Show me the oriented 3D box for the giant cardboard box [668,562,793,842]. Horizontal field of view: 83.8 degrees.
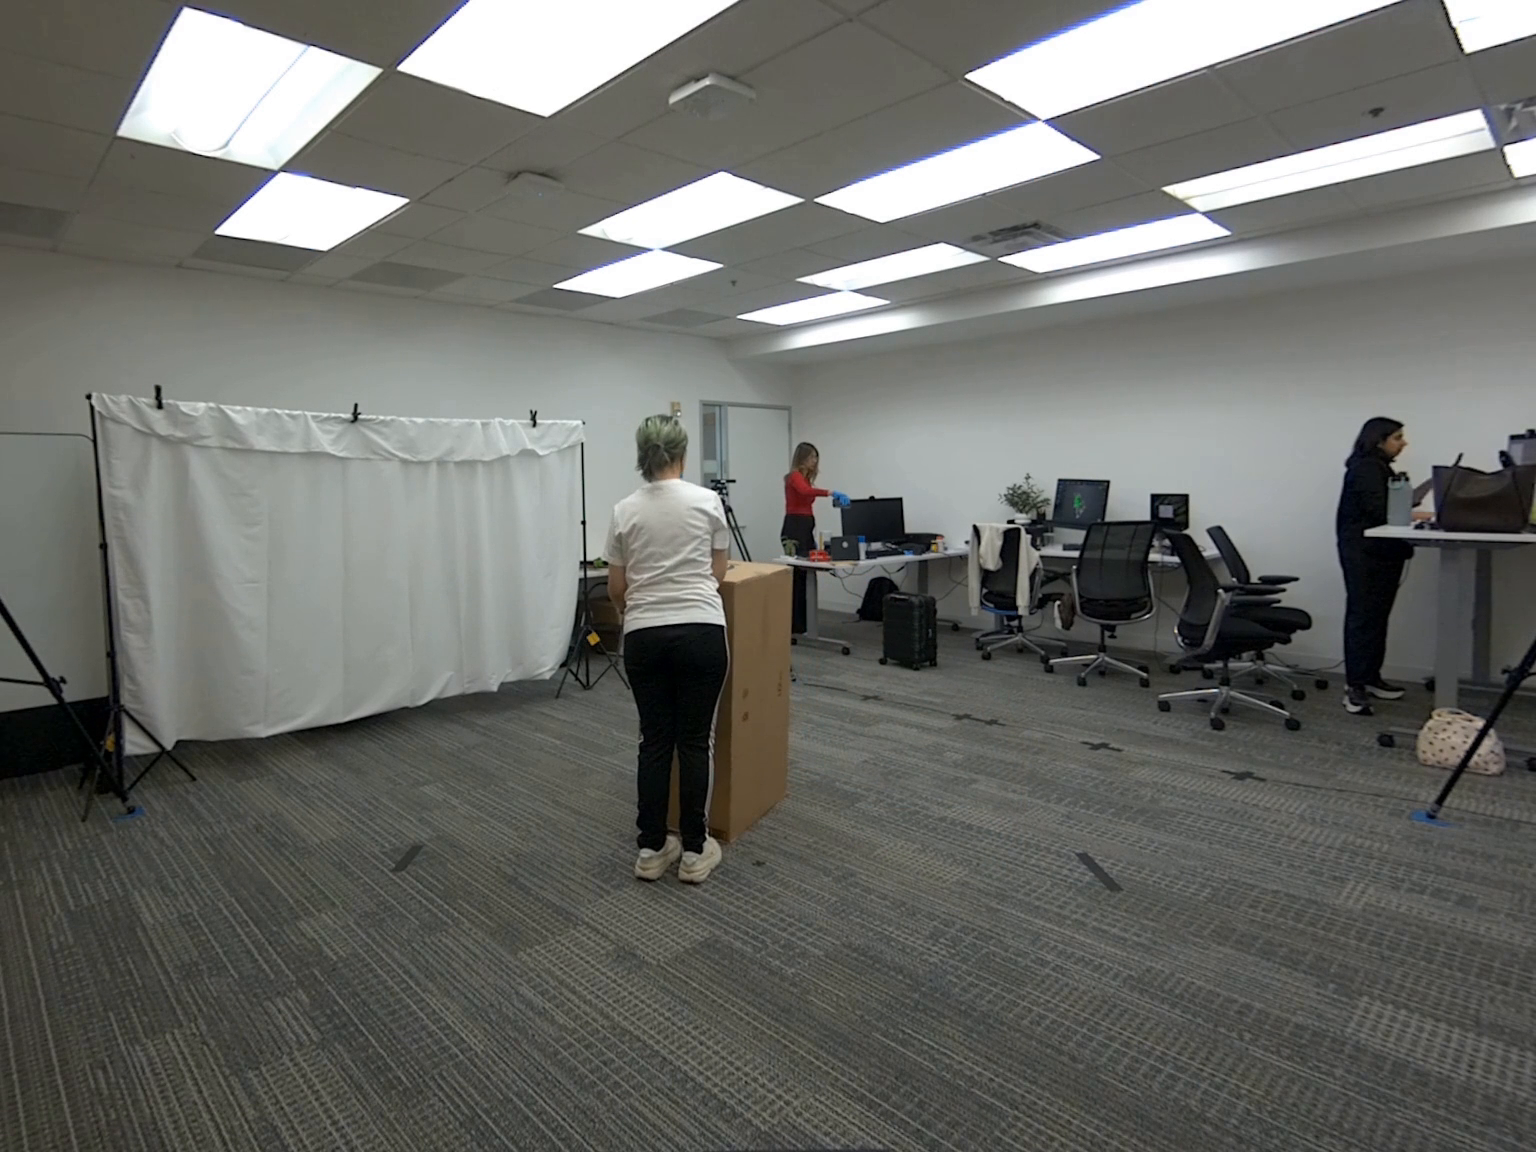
[{"bbox_3d":[-0.208,0.481,3.577,0.437,1.021,0.566,5,6,26],"label":"giant cardboard box"}]
